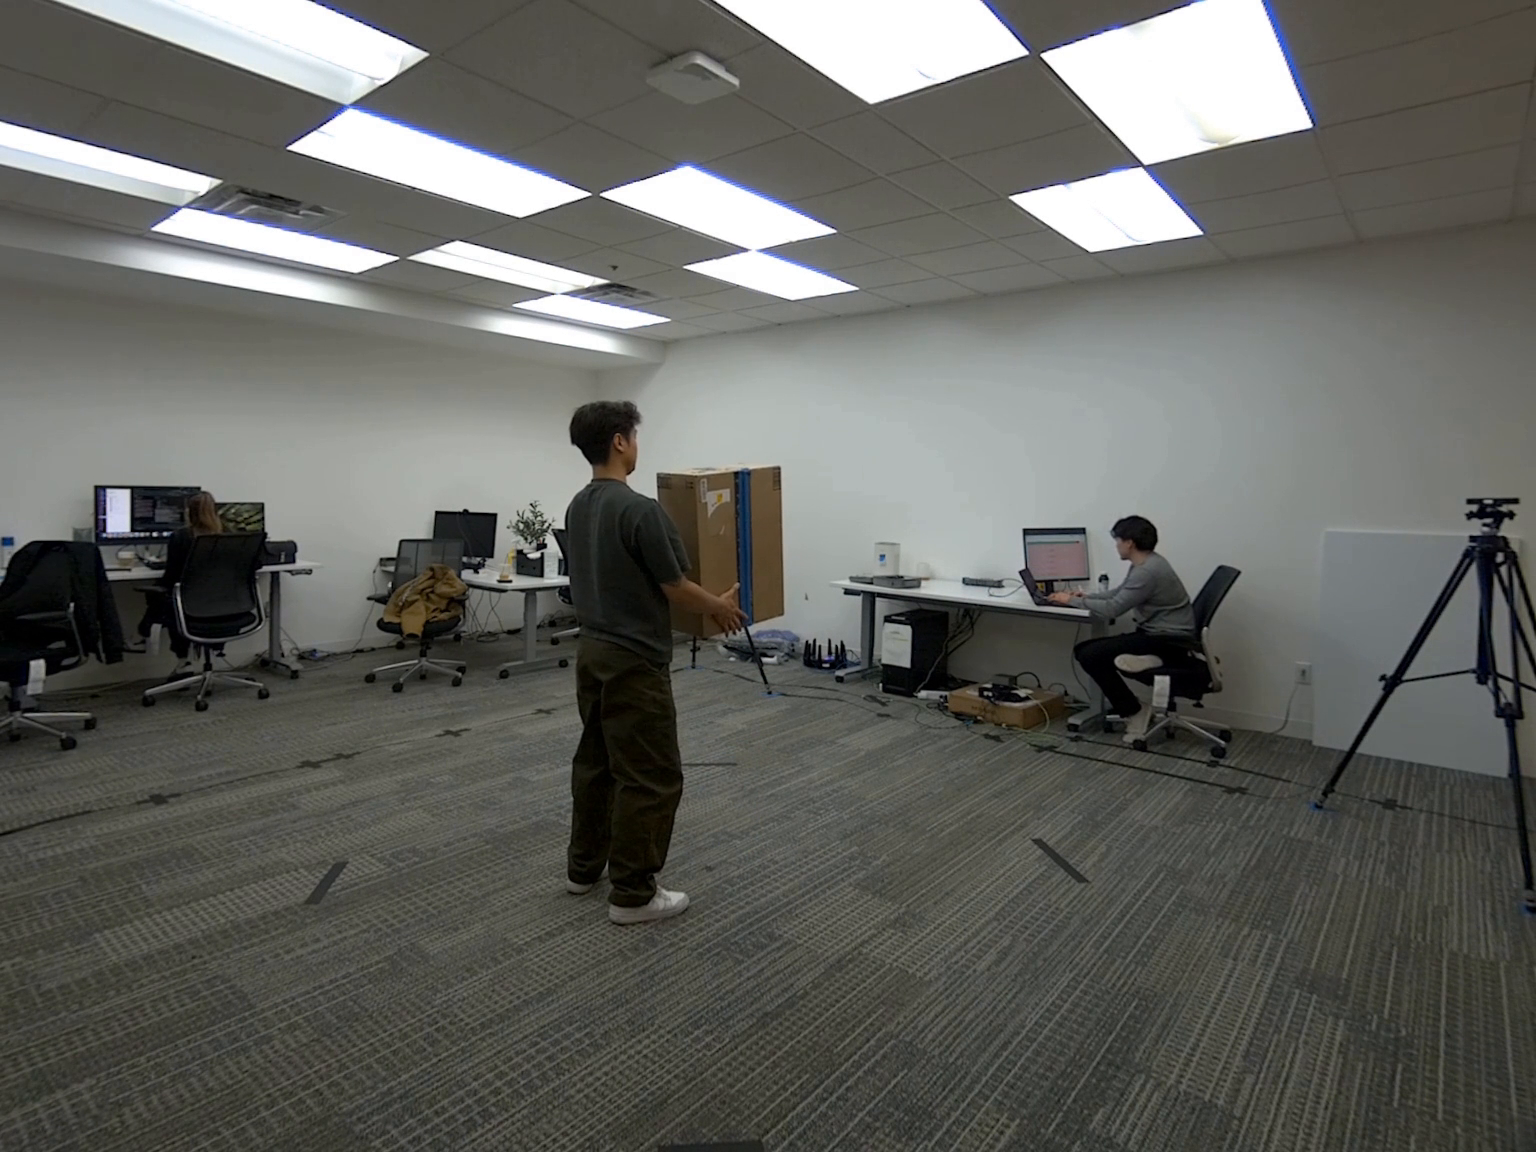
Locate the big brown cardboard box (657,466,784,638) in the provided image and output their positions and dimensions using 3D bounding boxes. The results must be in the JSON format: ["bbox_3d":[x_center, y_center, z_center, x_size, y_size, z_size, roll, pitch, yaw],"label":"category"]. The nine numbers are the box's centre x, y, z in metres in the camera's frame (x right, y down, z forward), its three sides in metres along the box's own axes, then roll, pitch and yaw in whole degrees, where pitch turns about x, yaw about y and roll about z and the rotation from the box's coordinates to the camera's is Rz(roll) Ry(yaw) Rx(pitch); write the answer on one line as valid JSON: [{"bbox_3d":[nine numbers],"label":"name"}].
[{"bbox_3d":[-0.172,-0.114,3.090,0.407,0.582,0.242,-12,16,-43],"label":"big brown cardboard box"}]
